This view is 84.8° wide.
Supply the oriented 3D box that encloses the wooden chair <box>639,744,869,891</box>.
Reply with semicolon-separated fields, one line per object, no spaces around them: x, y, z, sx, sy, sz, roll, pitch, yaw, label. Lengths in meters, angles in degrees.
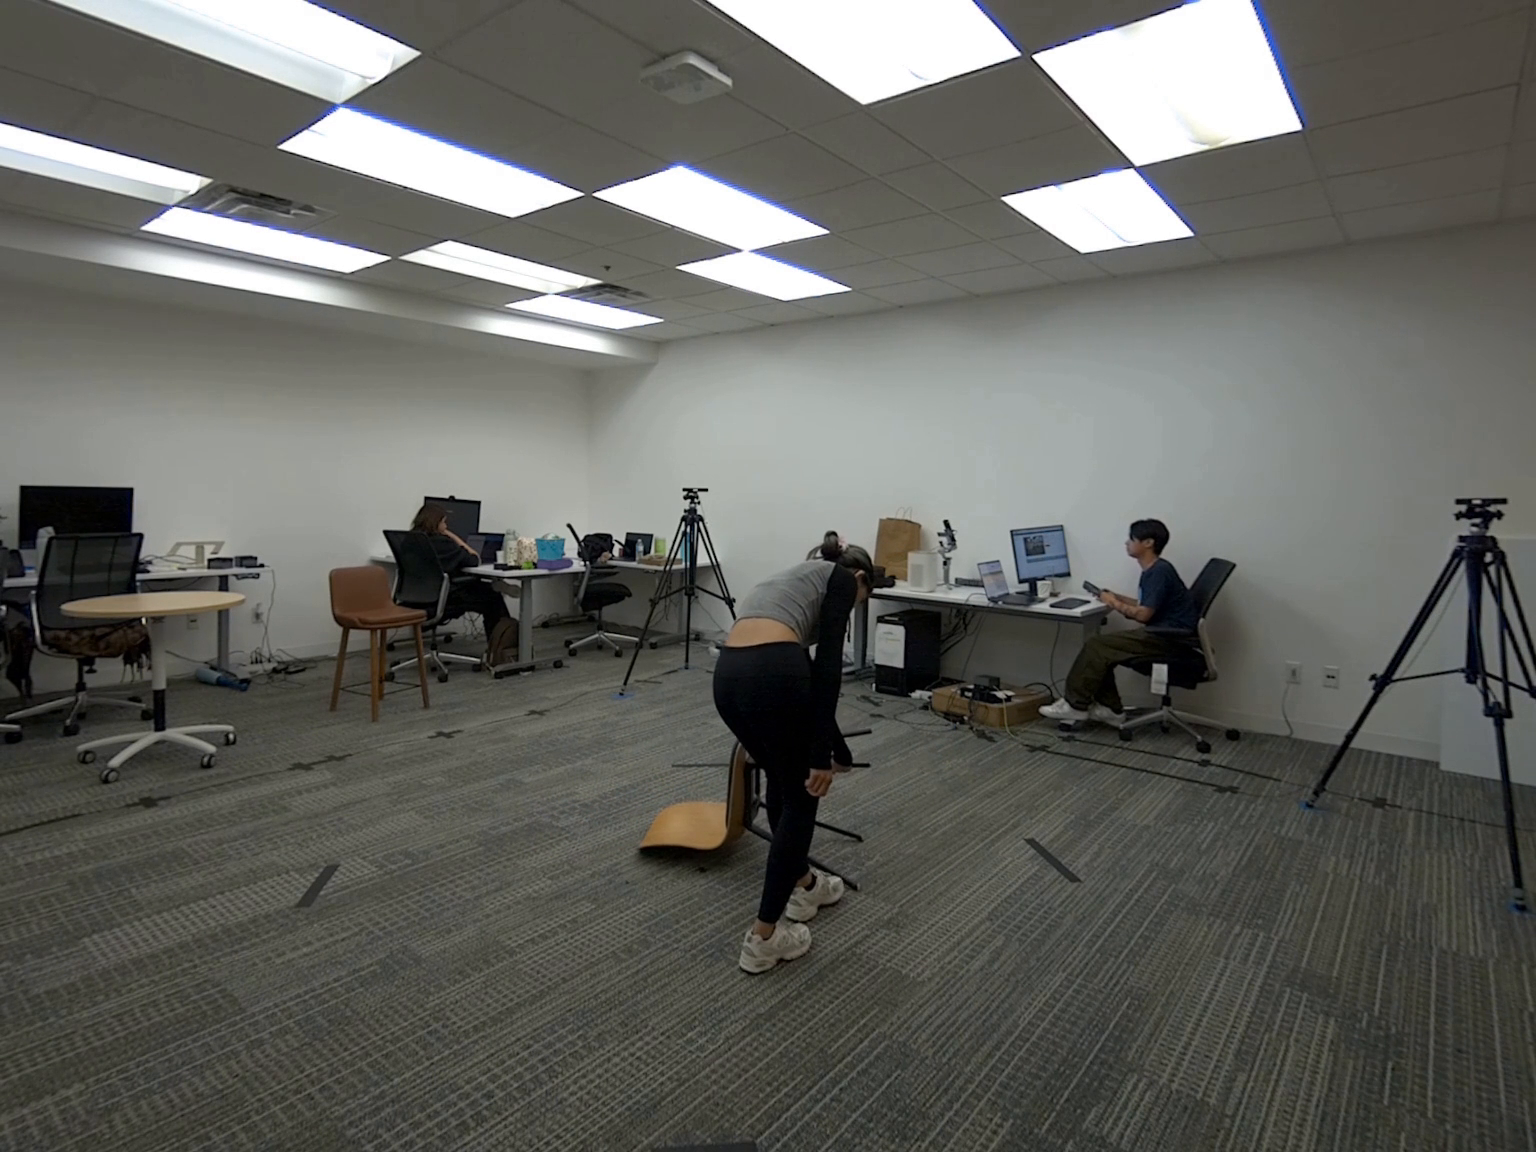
-0.068;0.799;3.255;0.889;0.521;0.474;1;4;12;wooden chair
